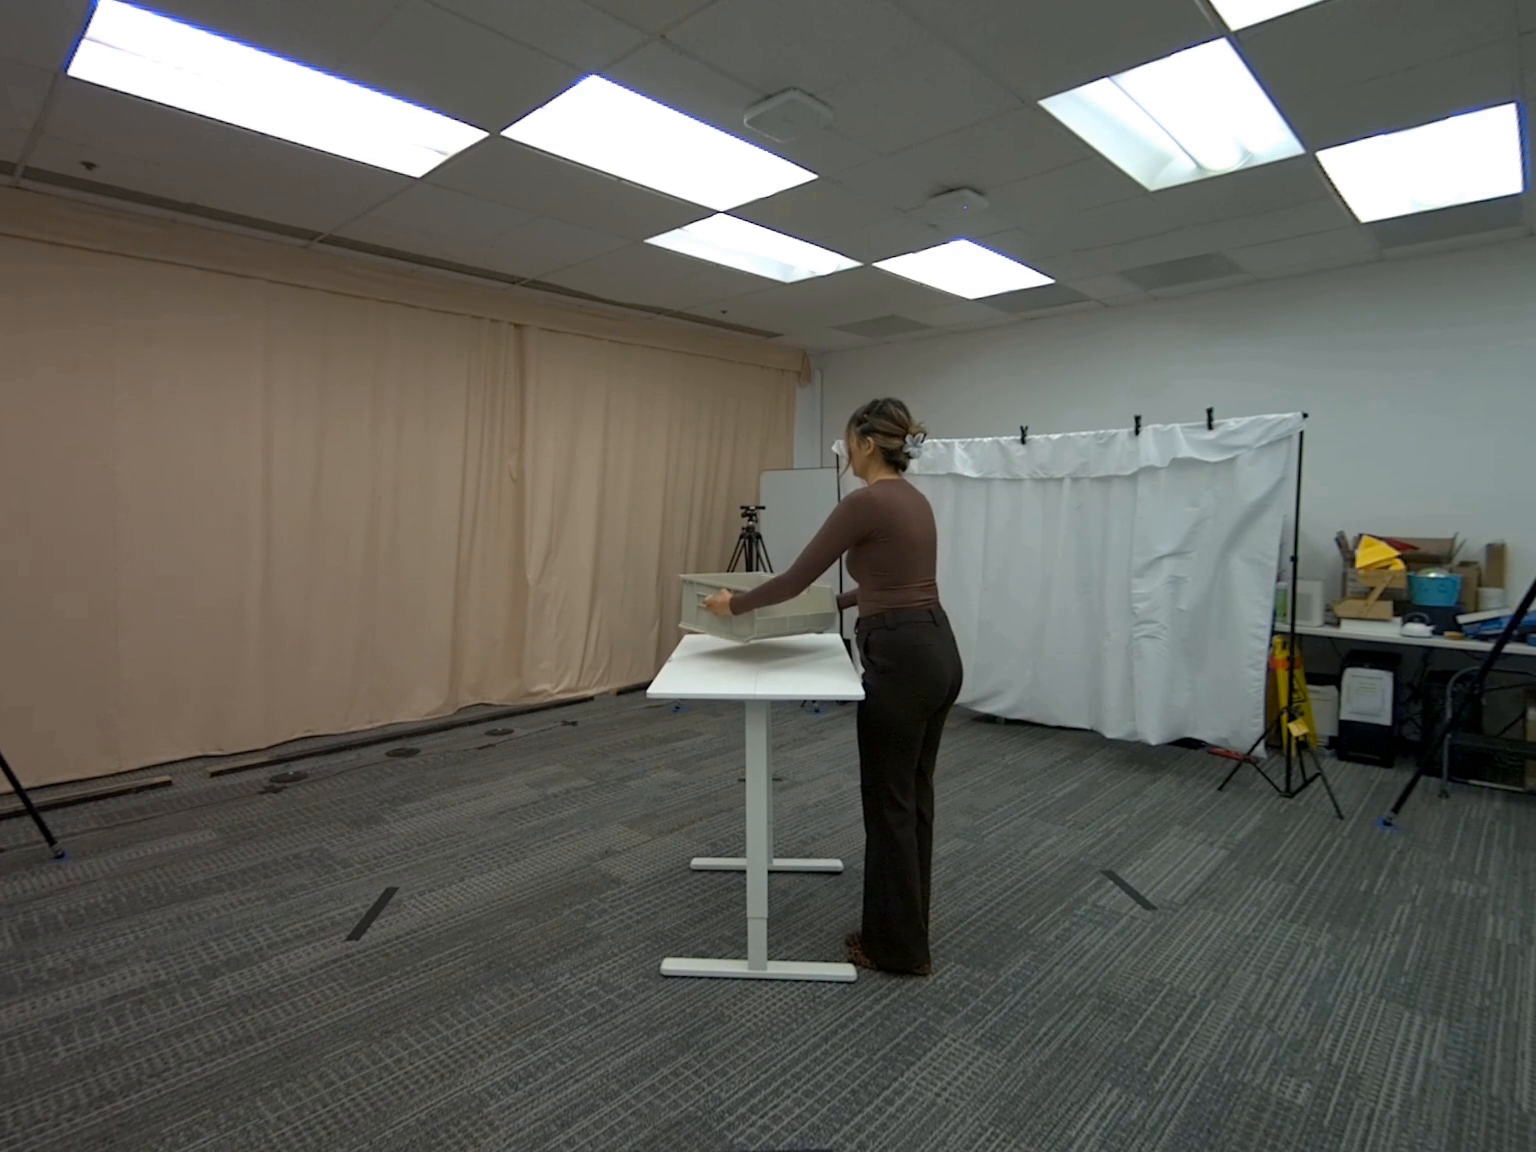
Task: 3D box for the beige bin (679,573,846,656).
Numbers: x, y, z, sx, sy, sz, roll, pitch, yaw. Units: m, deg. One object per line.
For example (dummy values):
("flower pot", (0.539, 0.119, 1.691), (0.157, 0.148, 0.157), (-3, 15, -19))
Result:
("beige bin", (-0.037, 0.105, 2.903), (0.390, 0.188, 0.409), (8, 7, 43))
